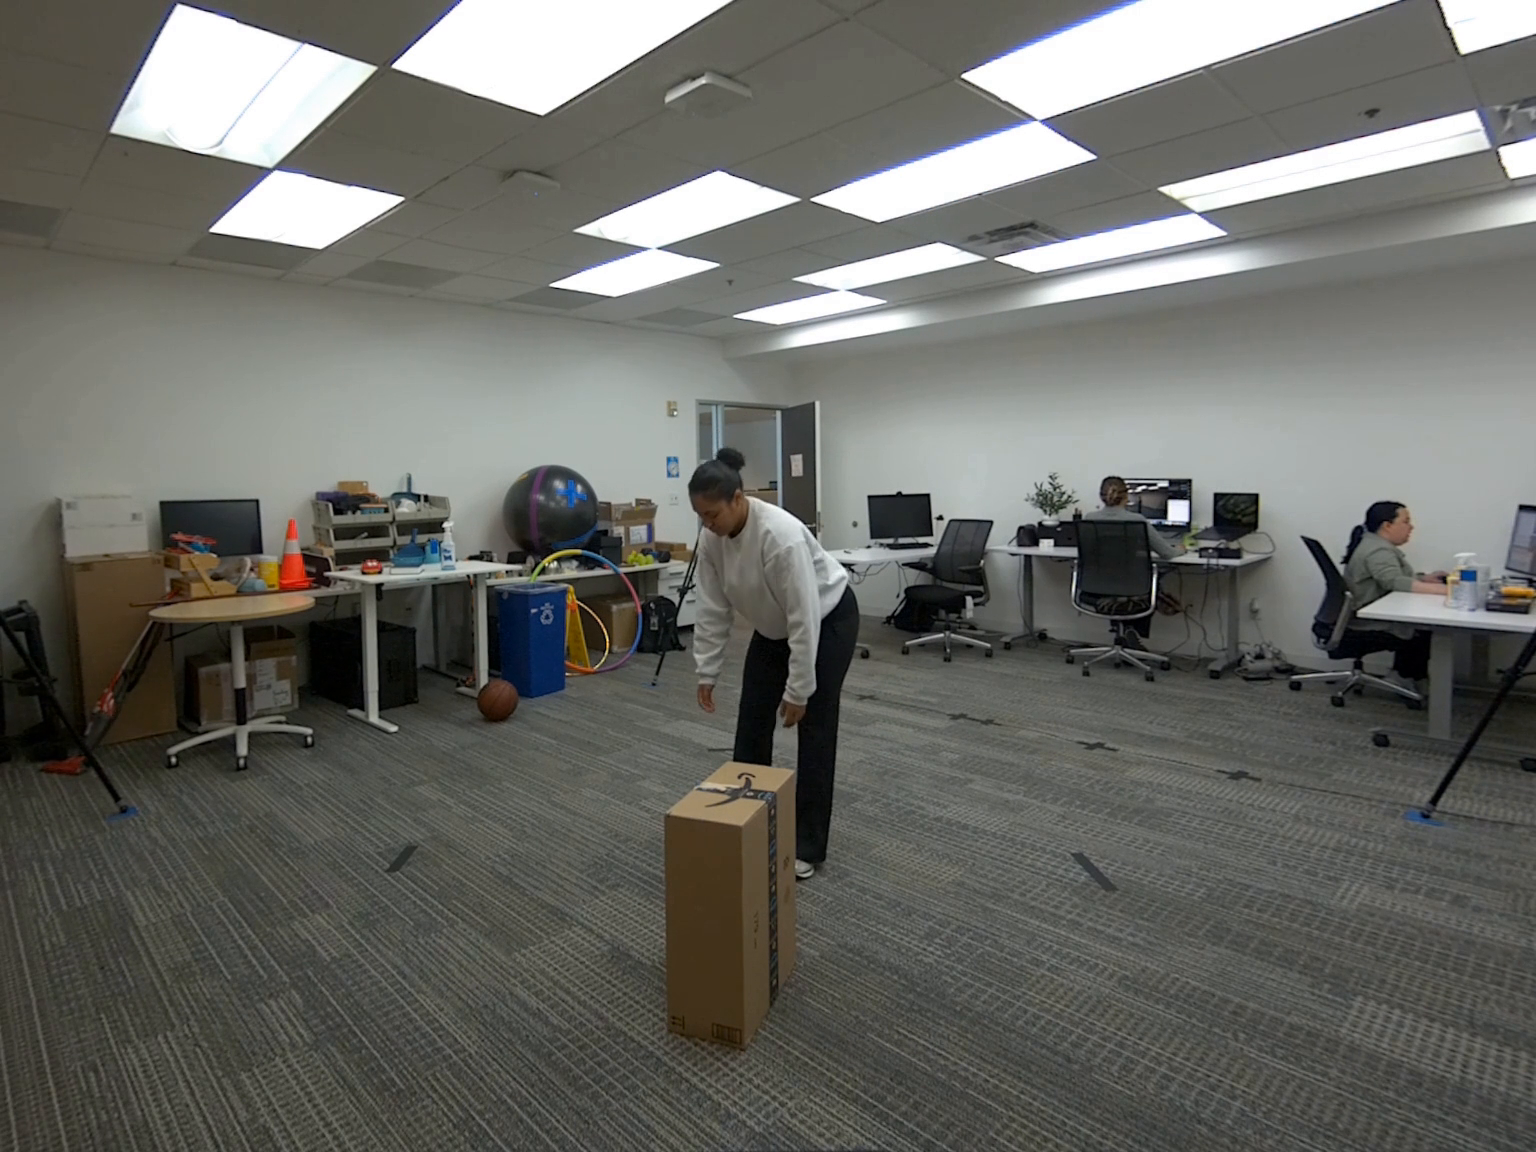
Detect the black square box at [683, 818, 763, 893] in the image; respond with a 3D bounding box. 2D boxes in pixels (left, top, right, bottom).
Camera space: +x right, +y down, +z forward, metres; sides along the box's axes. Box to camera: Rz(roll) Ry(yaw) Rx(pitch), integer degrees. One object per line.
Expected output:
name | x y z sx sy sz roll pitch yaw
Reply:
black square box | -0.156 0.972 3.003 0.231 0.155 0.215 0 4 13
